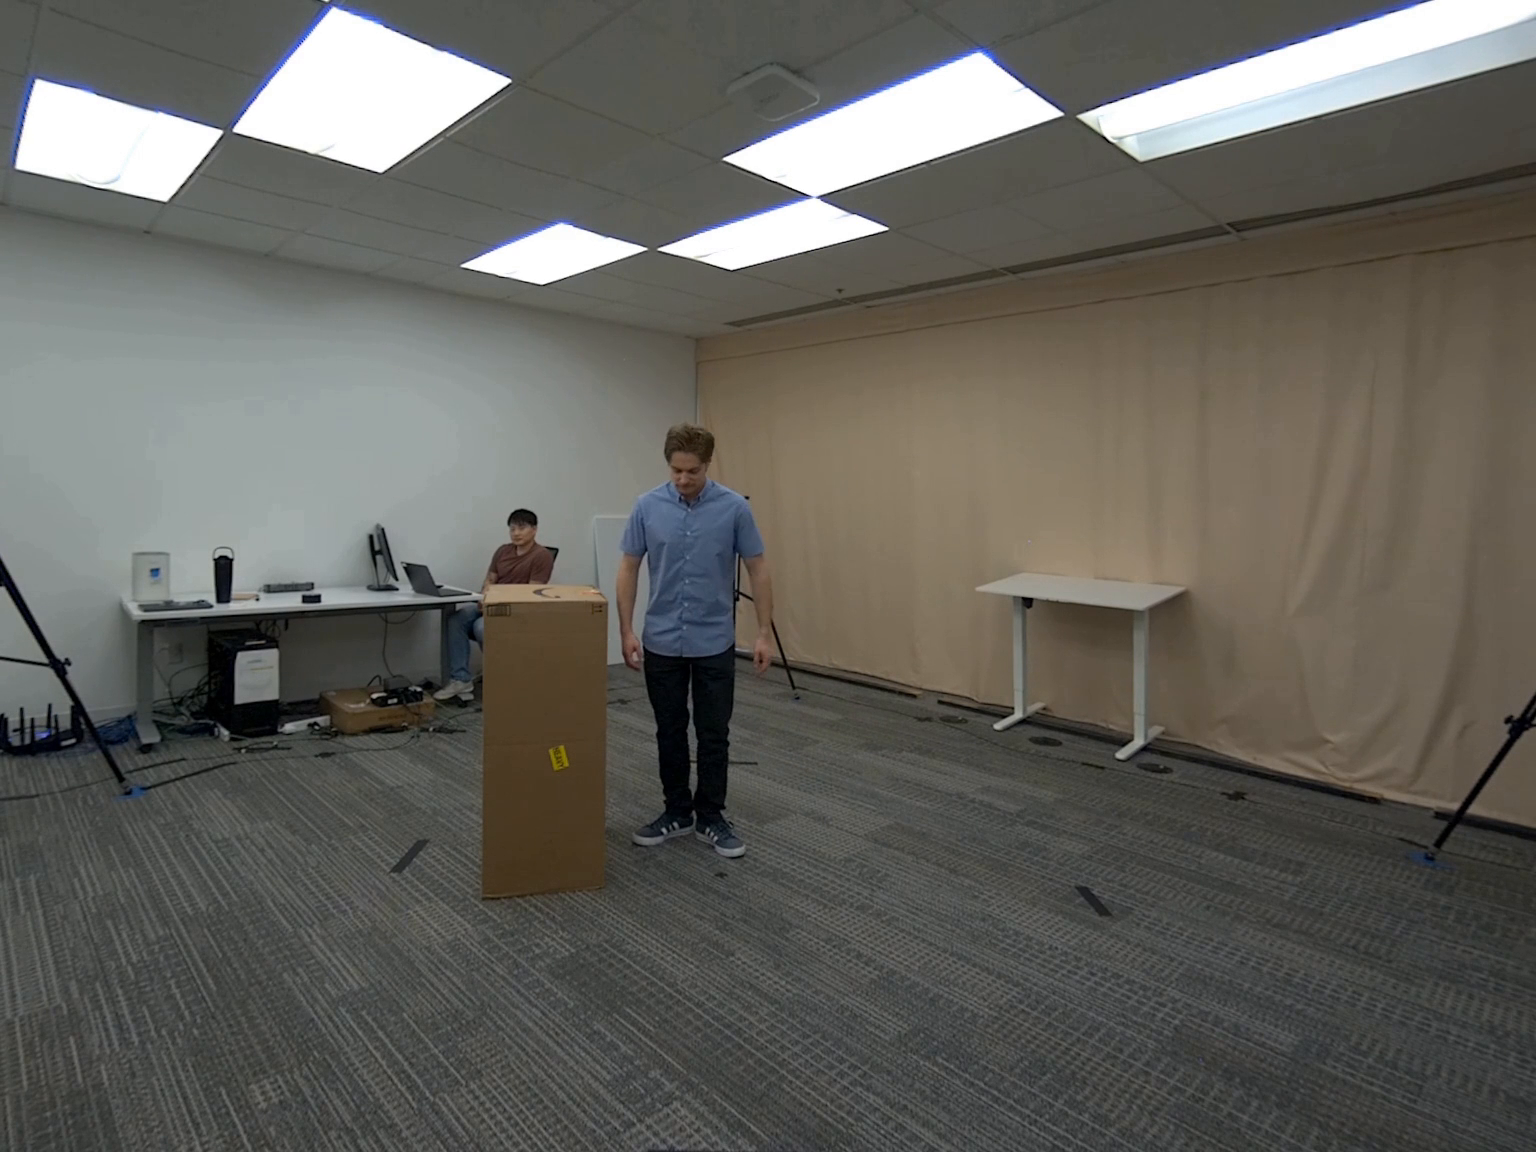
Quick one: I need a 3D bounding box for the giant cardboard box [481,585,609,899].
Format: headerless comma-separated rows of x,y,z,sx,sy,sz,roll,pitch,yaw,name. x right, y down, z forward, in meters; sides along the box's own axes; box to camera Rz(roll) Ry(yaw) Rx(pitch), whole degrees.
-0.858,0.577,3.171,0.441,1.025,0.593,0,3,-17,giant cardboard box
